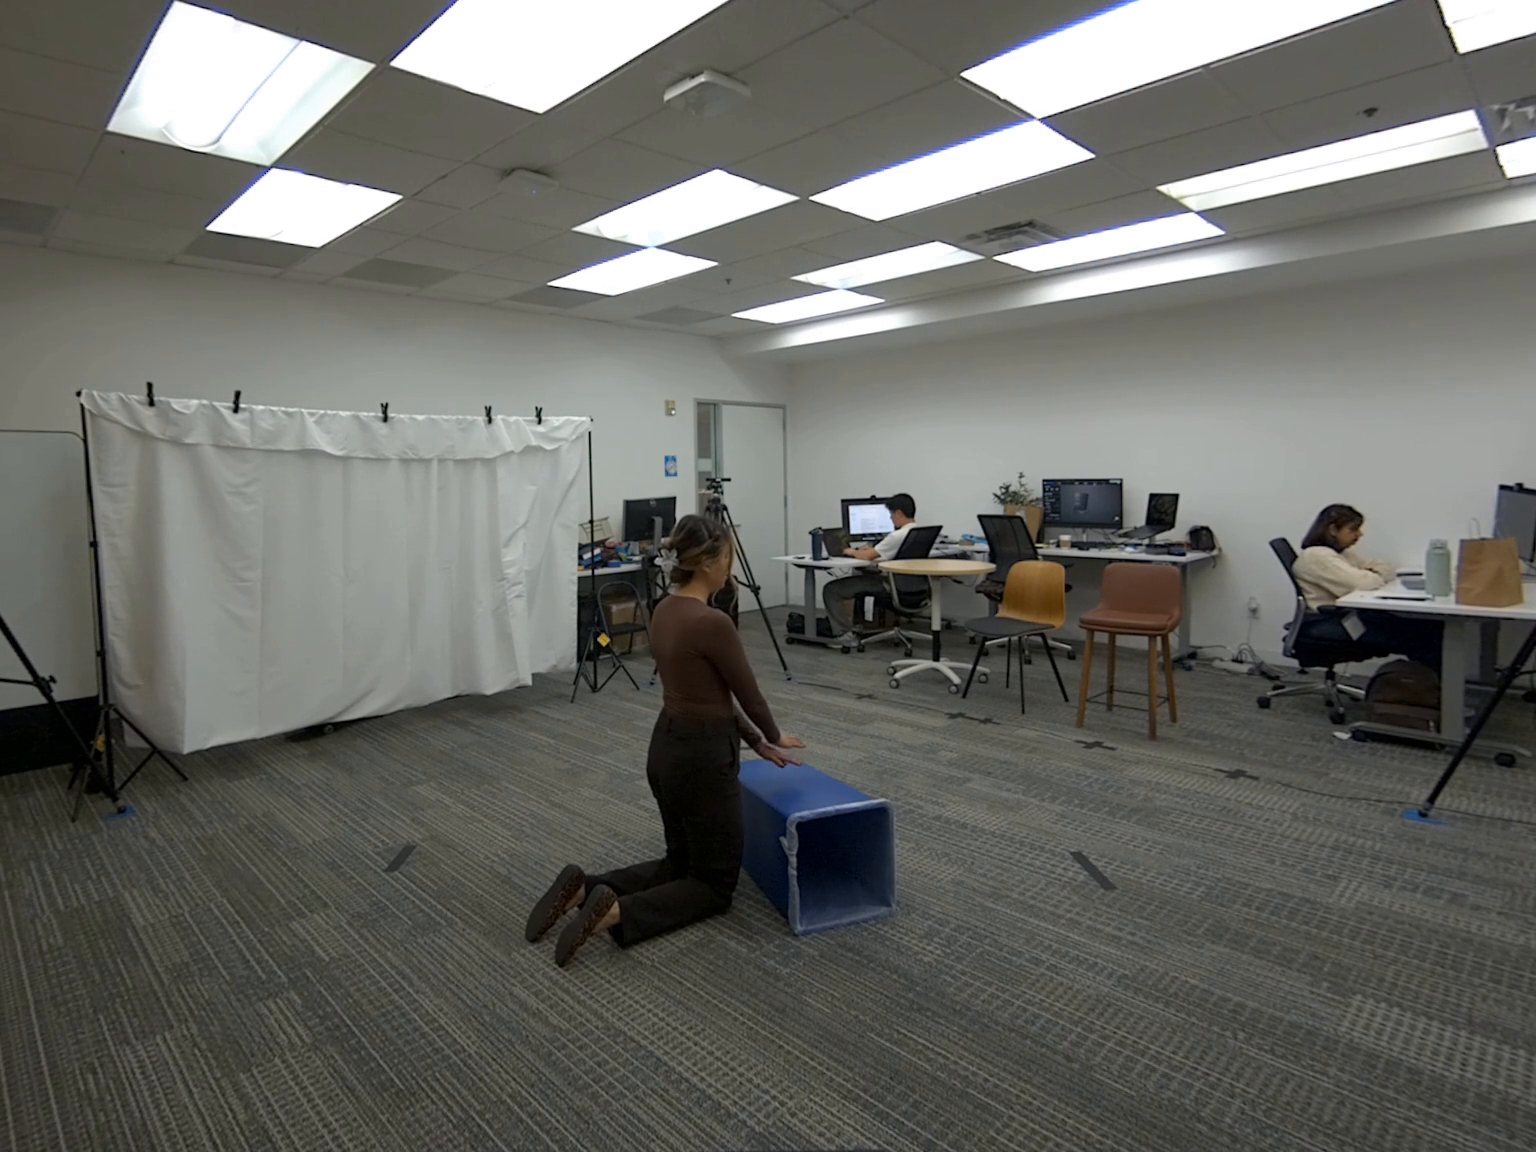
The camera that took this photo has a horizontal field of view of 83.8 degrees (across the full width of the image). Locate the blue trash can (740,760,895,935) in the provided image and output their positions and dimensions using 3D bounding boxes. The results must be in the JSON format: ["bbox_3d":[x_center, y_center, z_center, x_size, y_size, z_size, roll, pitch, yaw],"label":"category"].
[{"bbox_3d":[0.106,0.880,2.990,0.367,0.377,0.728,-4,5,-21],"label":"blue trash can"}]
